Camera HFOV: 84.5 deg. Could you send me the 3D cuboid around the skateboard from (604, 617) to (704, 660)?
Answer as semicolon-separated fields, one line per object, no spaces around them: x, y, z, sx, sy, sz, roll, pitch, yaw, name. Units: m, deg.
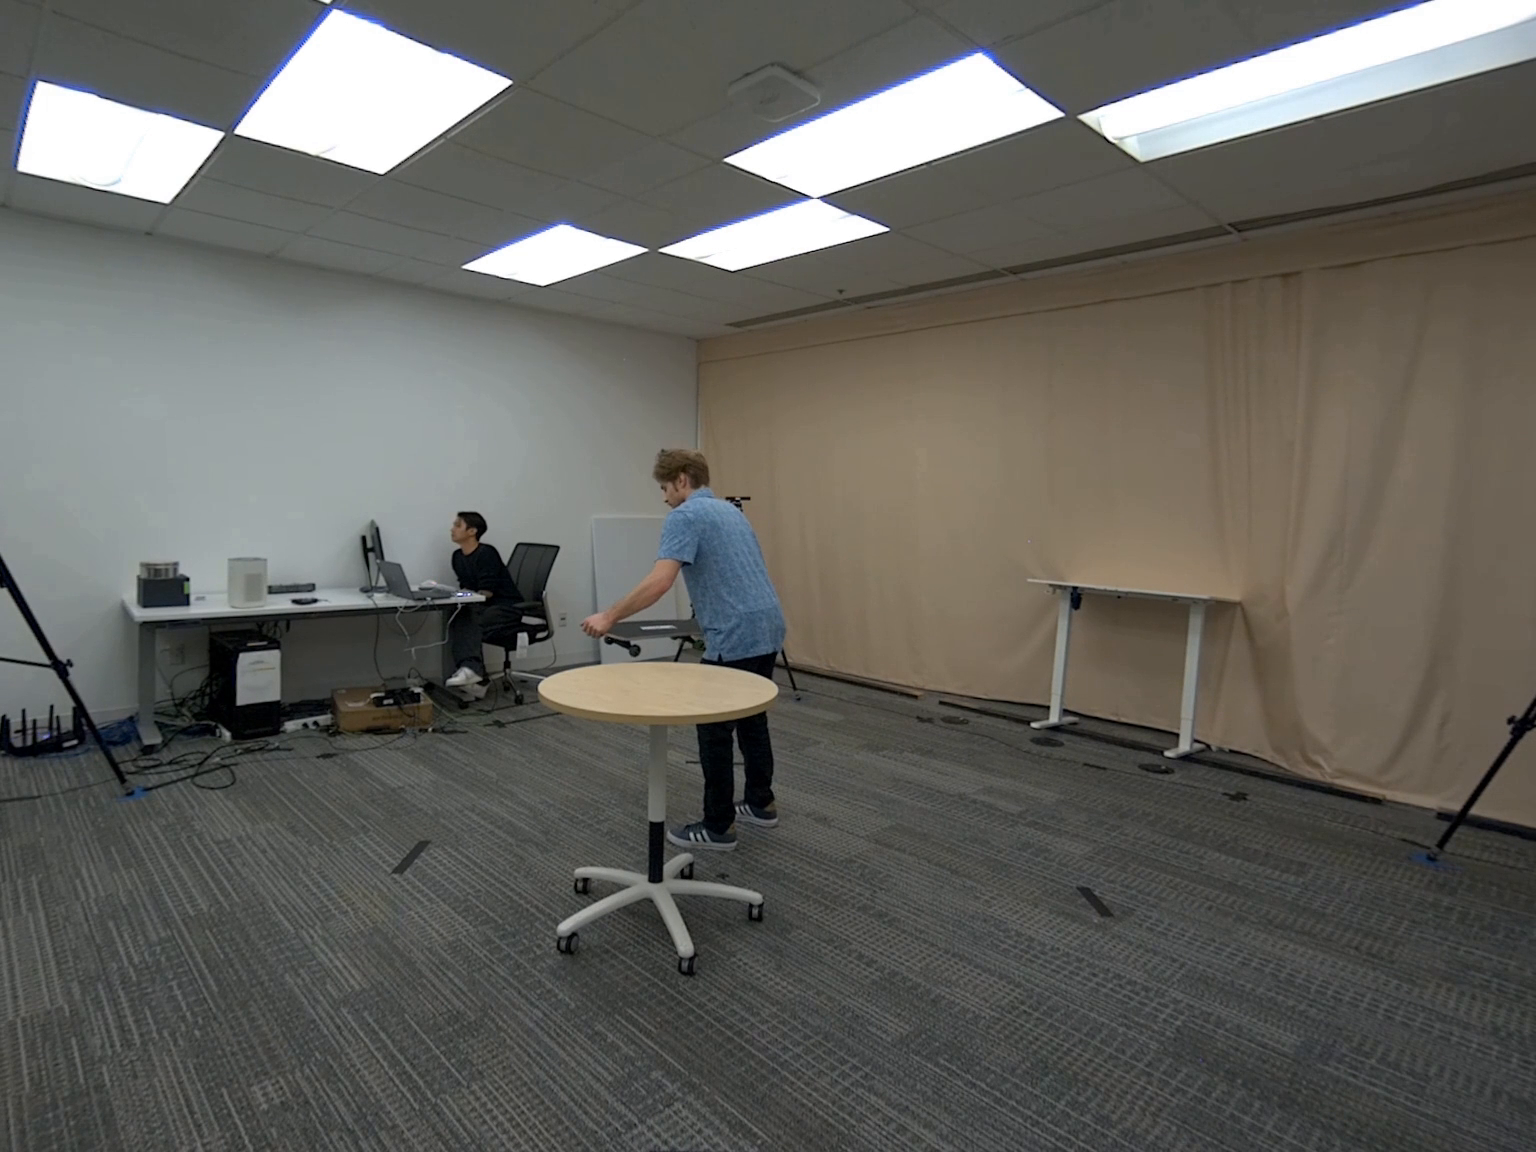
-0.477;0.253;3.589;0.199;0.110;0.767;18;11;36;skateboard
